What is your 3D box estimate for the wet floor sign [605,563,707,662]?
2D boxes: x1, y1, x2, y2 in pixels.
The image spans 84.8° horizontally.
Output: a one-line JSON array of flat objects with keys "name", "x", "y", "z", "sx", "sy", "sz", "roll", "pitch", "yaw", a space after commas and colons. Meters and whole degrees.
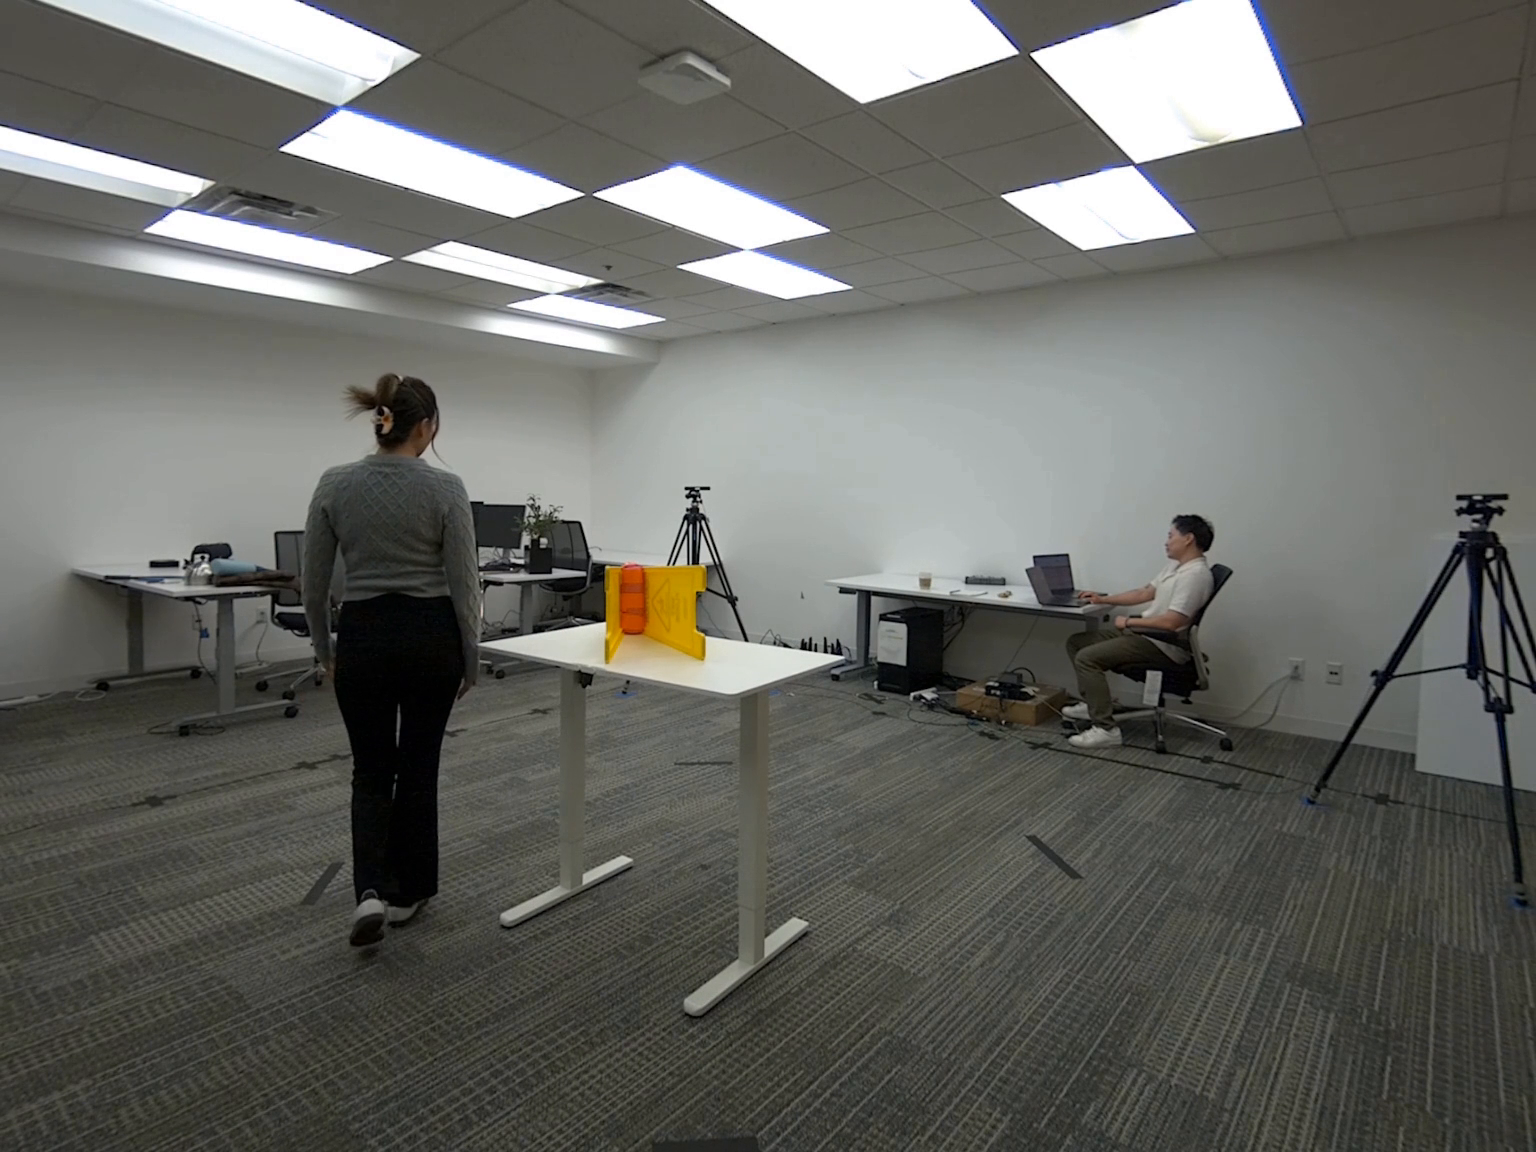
[{"name": "wet floor sign", "x": -0.431, "y": 0.092, "z": 2.778, "sx": 0.285, "sy": 0.282, "sz": 0.657, "roll": 0, "pitch": 3, "yaw": -17}]
